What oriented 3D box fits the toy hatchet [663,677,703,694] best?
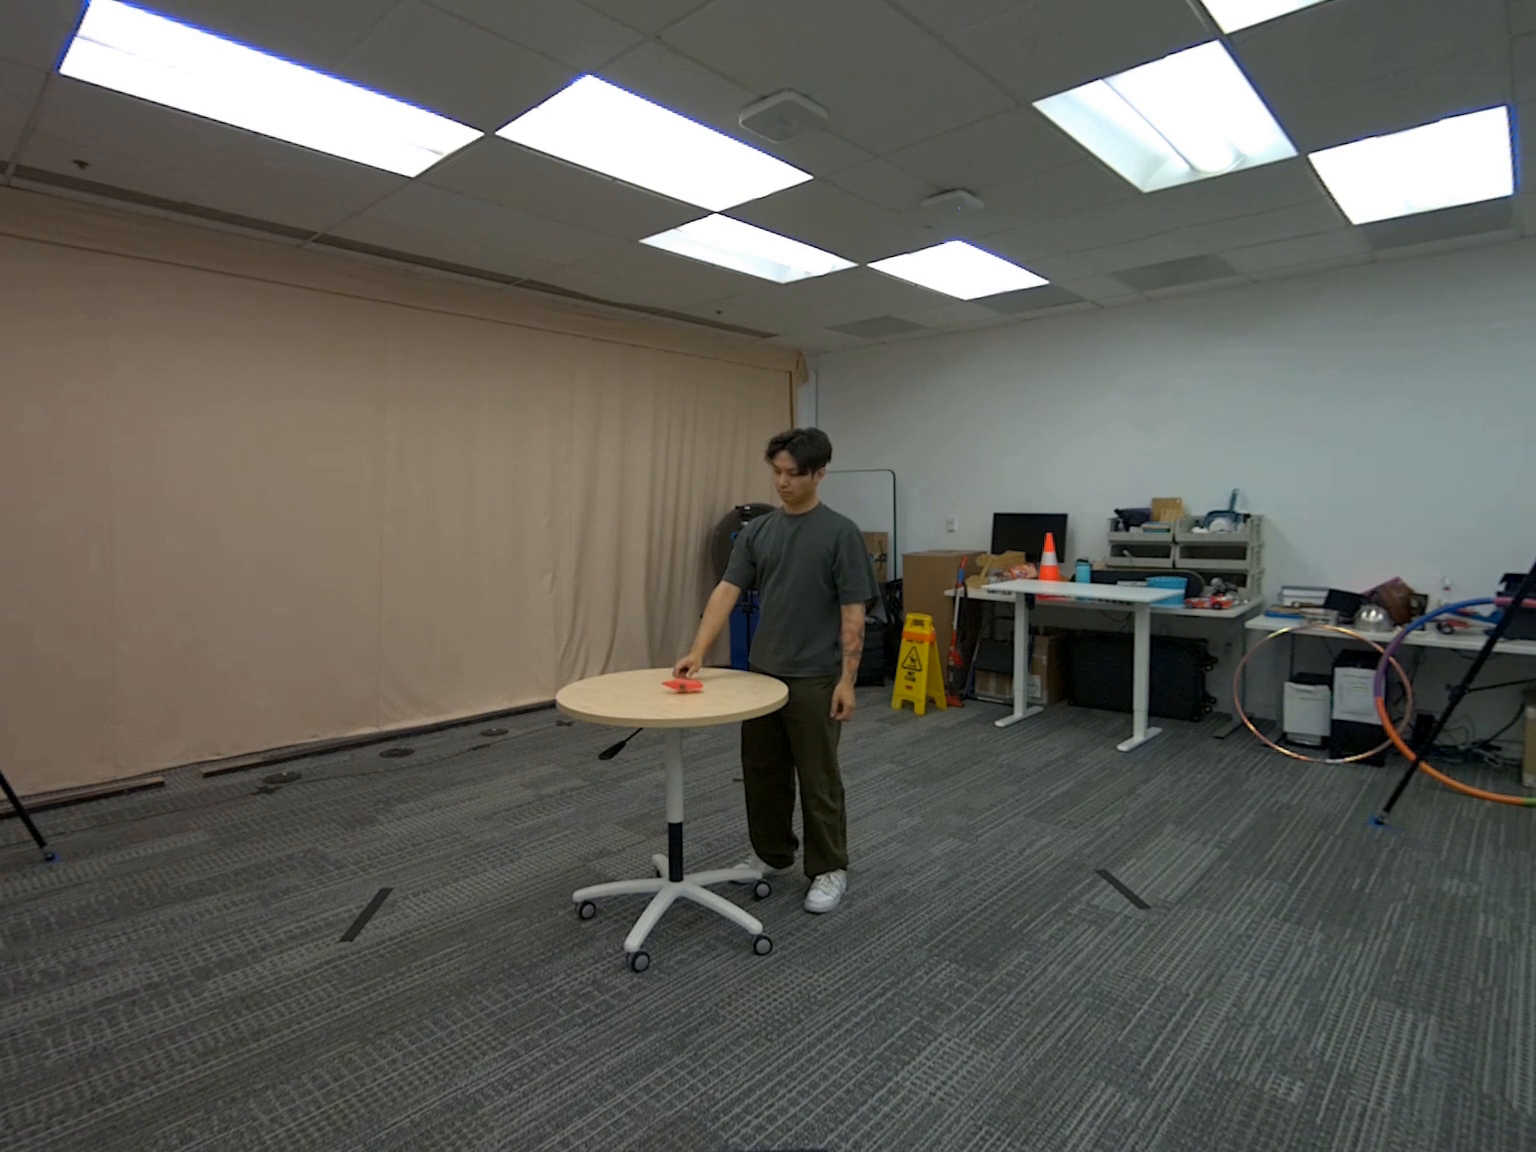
[{"bbox_3d":[-0.260,0.342,2.843,0.133,0.029,0.267,4,7,13],"label":"toy hatchet"}]
